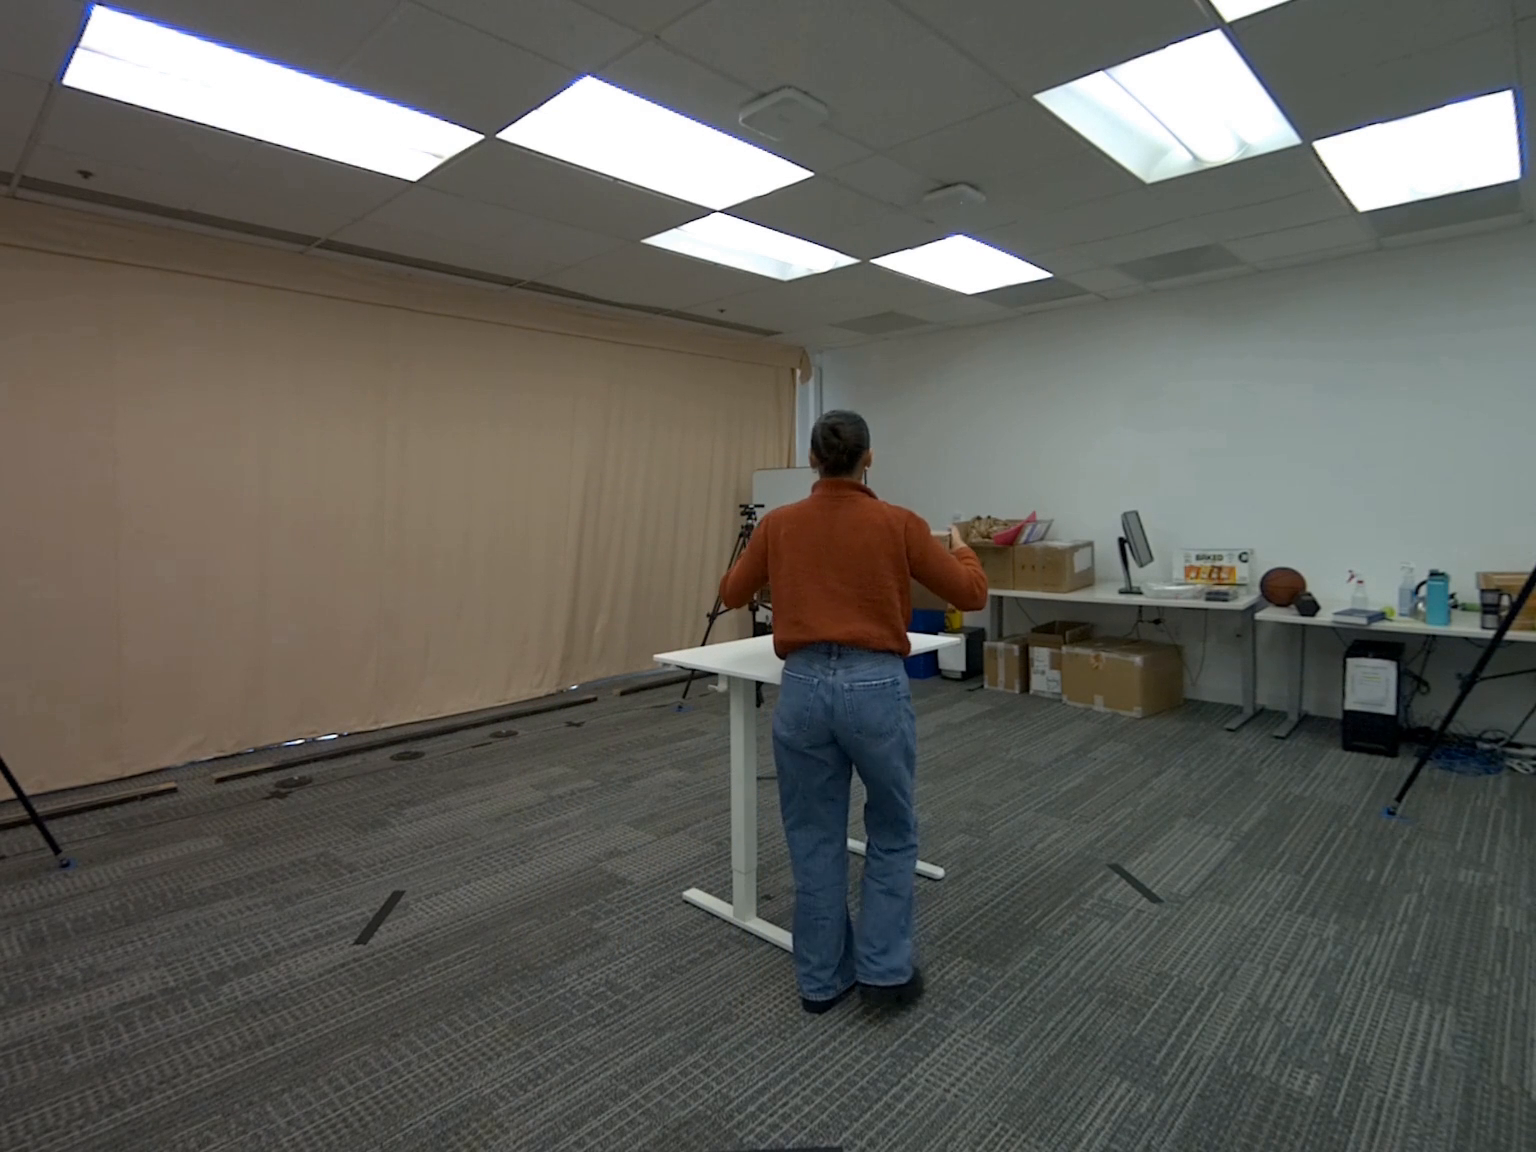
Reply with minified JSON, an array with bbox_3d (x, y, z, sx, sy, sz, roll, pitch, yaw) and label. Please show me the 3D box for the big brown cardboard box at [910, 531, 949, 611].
[{"bbox_3d":[0.308,-0.025,2.645,0.601,0.233,0.409,0,2,19],"label":"big brown cardboard box"}]
